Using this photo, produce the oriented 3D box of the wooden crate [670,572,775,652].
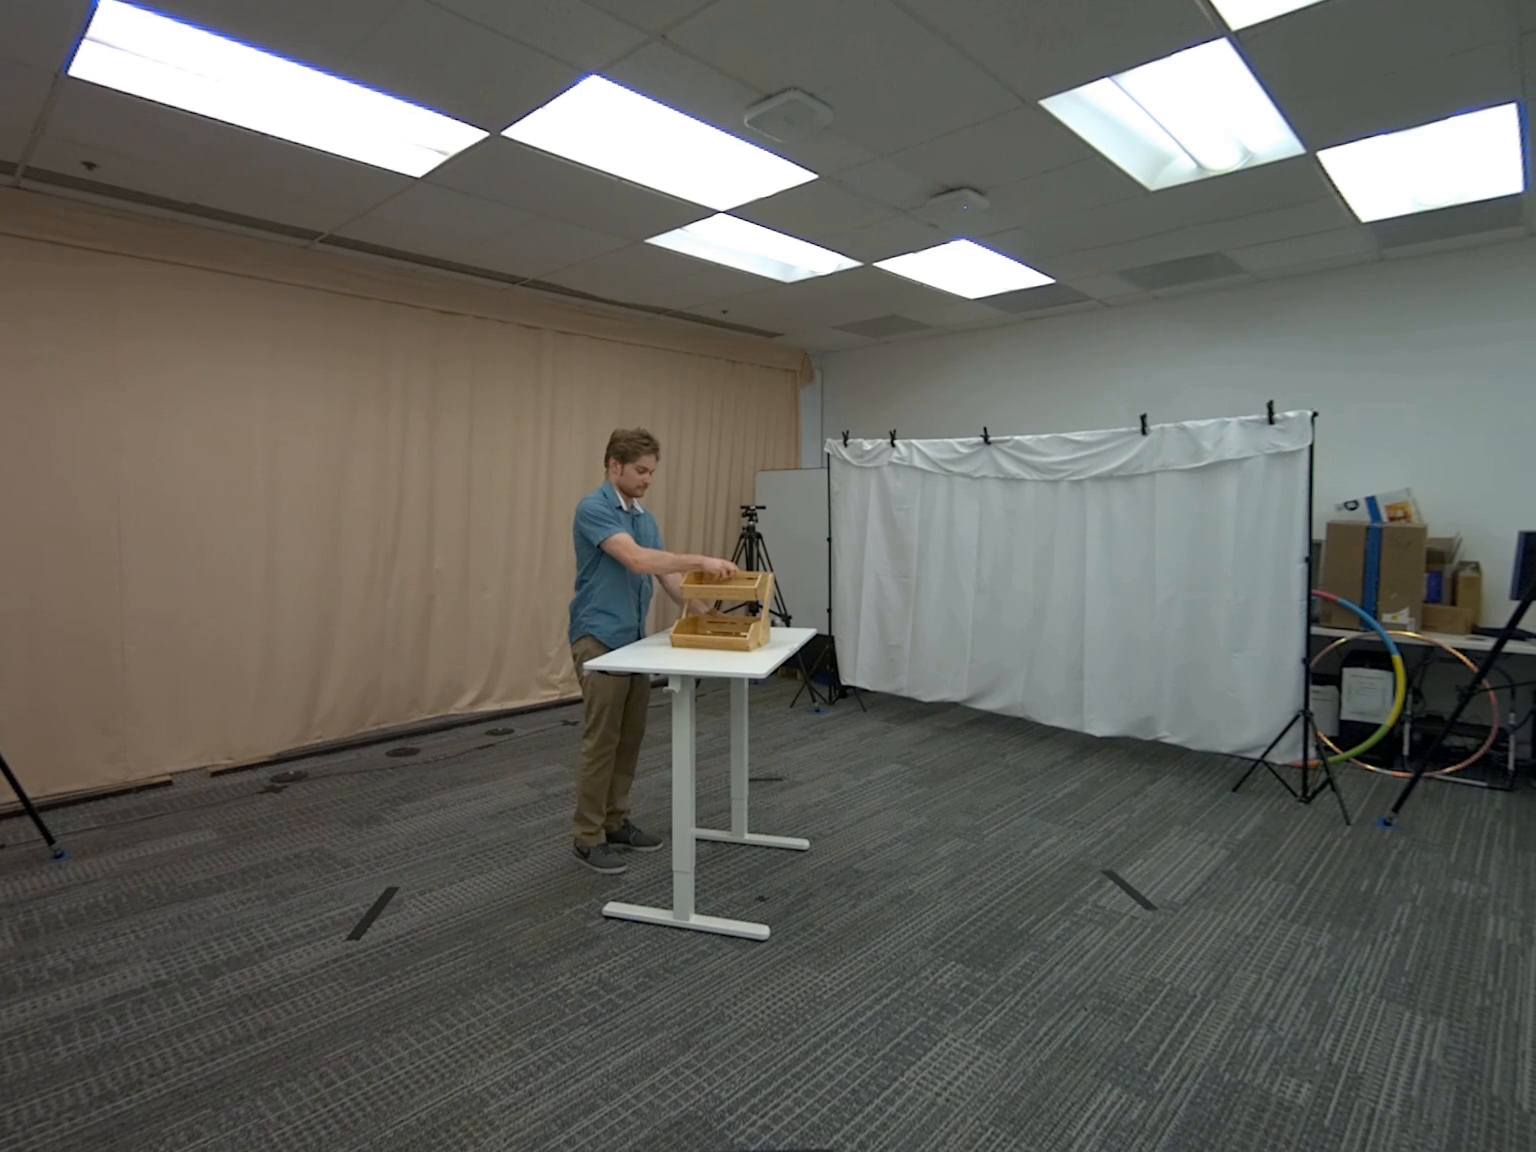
[{"bbox_3d":[-0.164,0.119,3.106,0.331,0.273,0.296,1,4,20],"label":"wooden crate"}]
